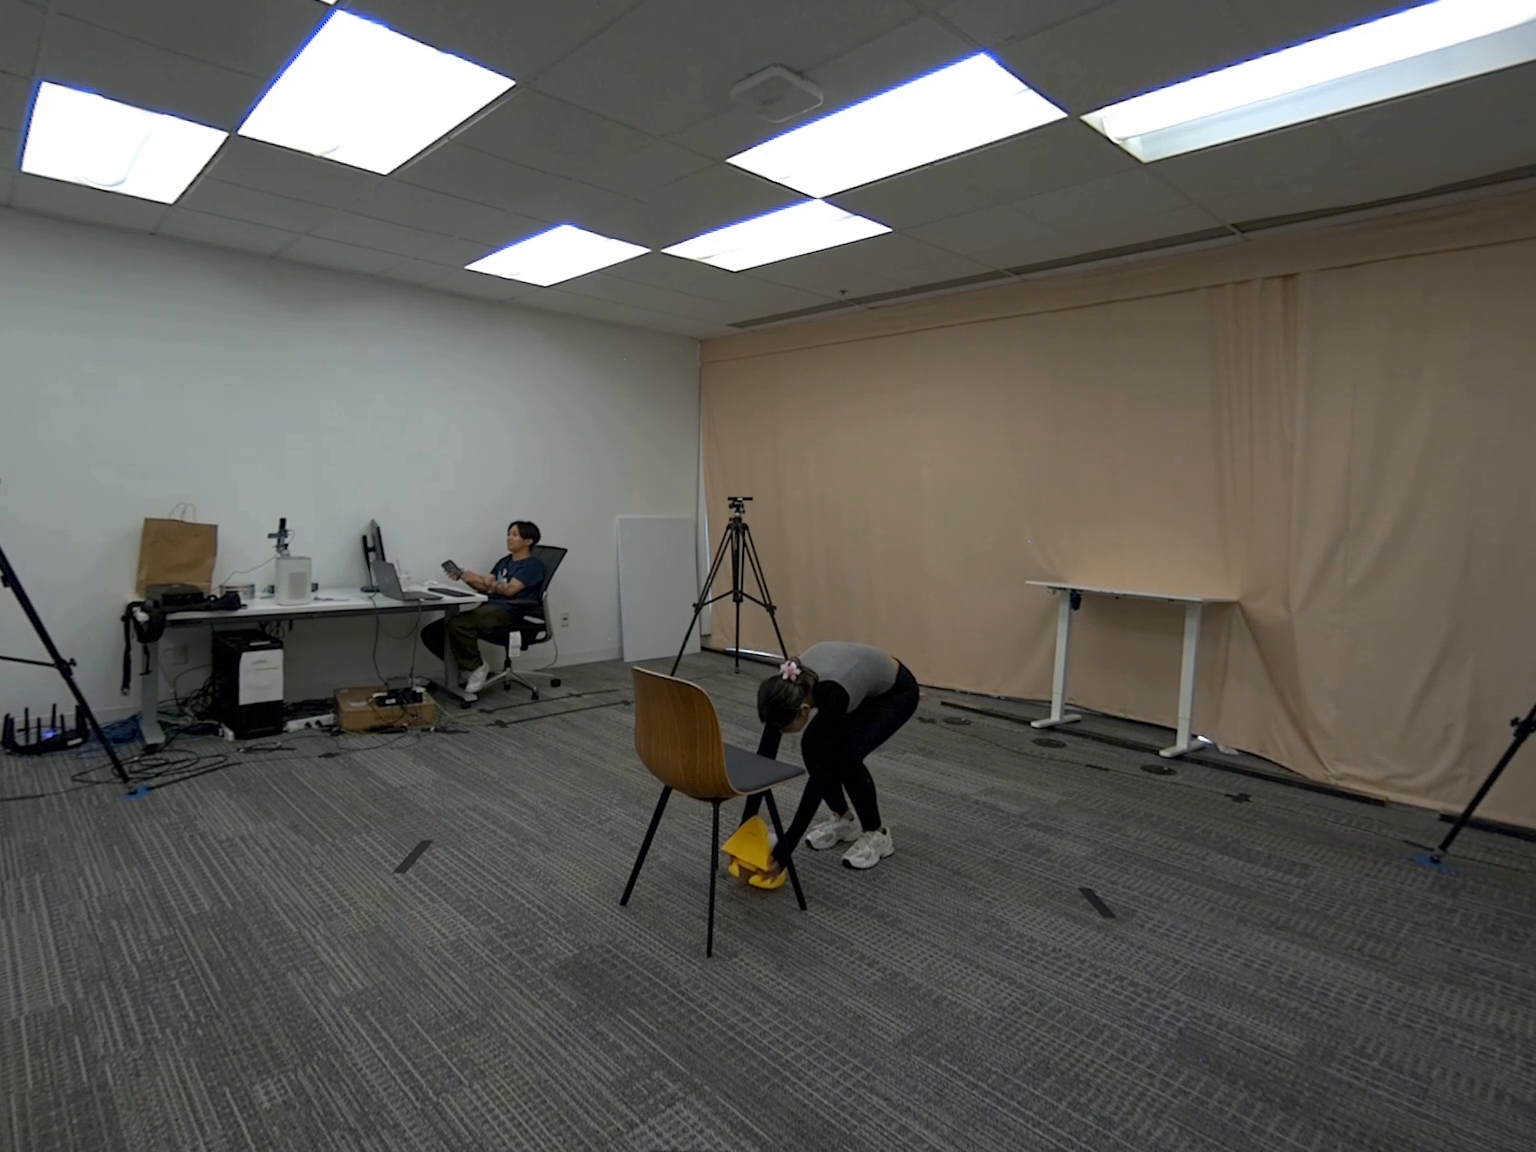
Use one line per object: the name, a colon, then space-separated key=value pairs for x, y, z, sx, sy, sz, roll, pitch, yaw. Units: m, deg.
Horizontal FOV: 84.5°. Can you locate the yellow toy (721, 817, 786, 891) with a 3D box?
yellow toy: x=-0.033 y=0.962 z=3.006 sx=0.210 sy=0.230 sz=0.188 roll=11 pitch=5 yaw=35
